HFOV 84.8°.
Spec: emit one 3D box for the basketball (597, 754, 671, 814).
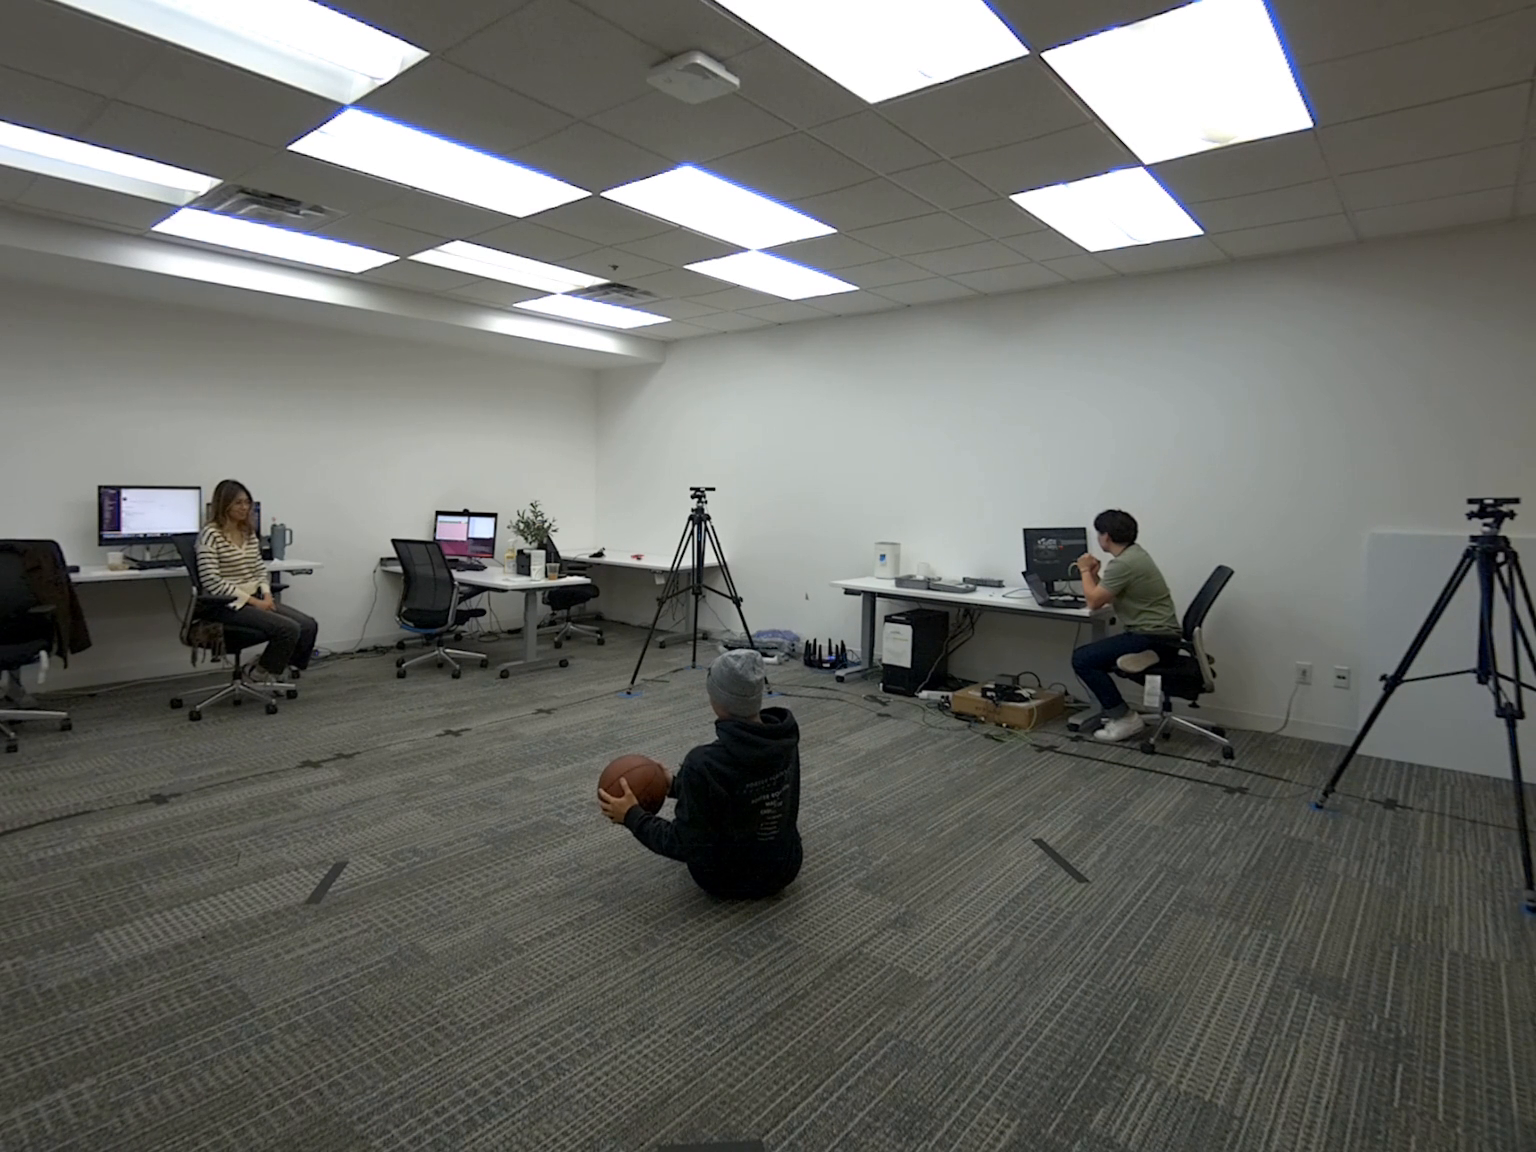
[{"bbox_3d":[-0.479,0.738,2.968,0.235,0.235,0.237,1,4,-2],"label":"basketball"}]
